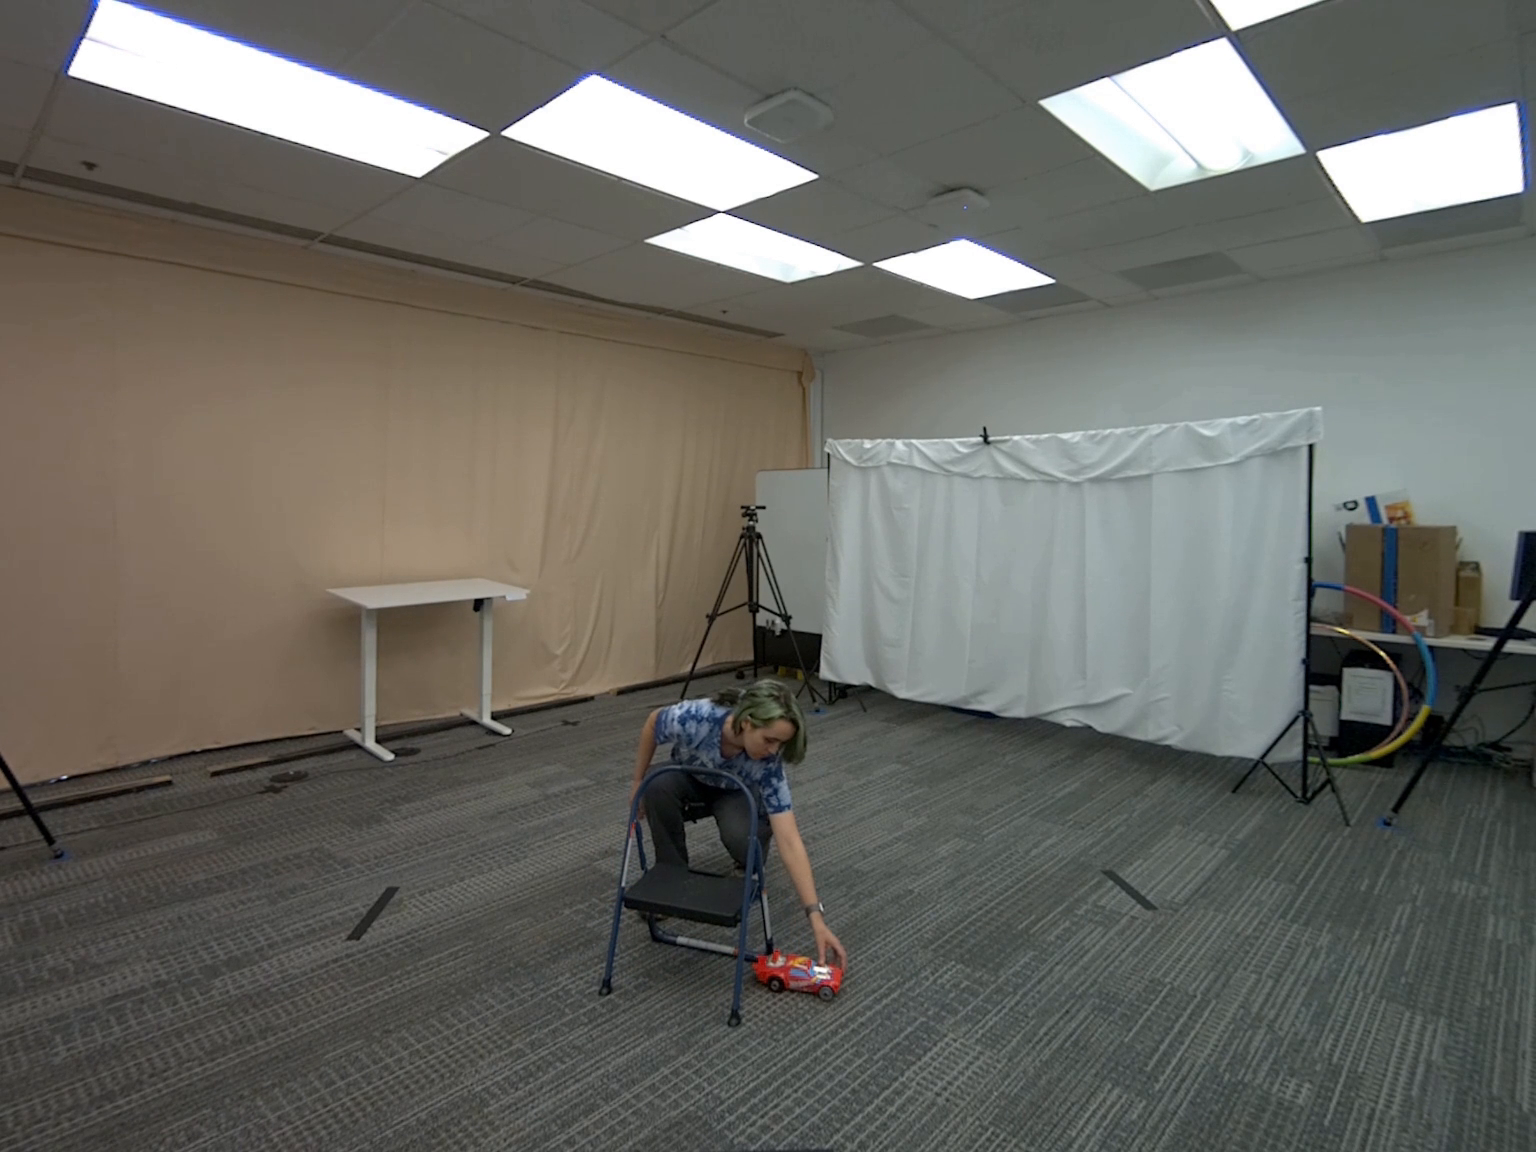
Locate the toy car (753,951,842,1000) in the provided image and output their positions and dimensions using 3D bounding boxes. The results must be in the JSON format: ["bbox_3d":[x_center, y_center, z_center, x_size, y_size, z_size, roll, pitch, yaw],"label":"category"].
[{"bbox_3d":[0.086,1.158,2.440,0.258,0.083,0.129,12,8,12],"label":"toy car"}]
